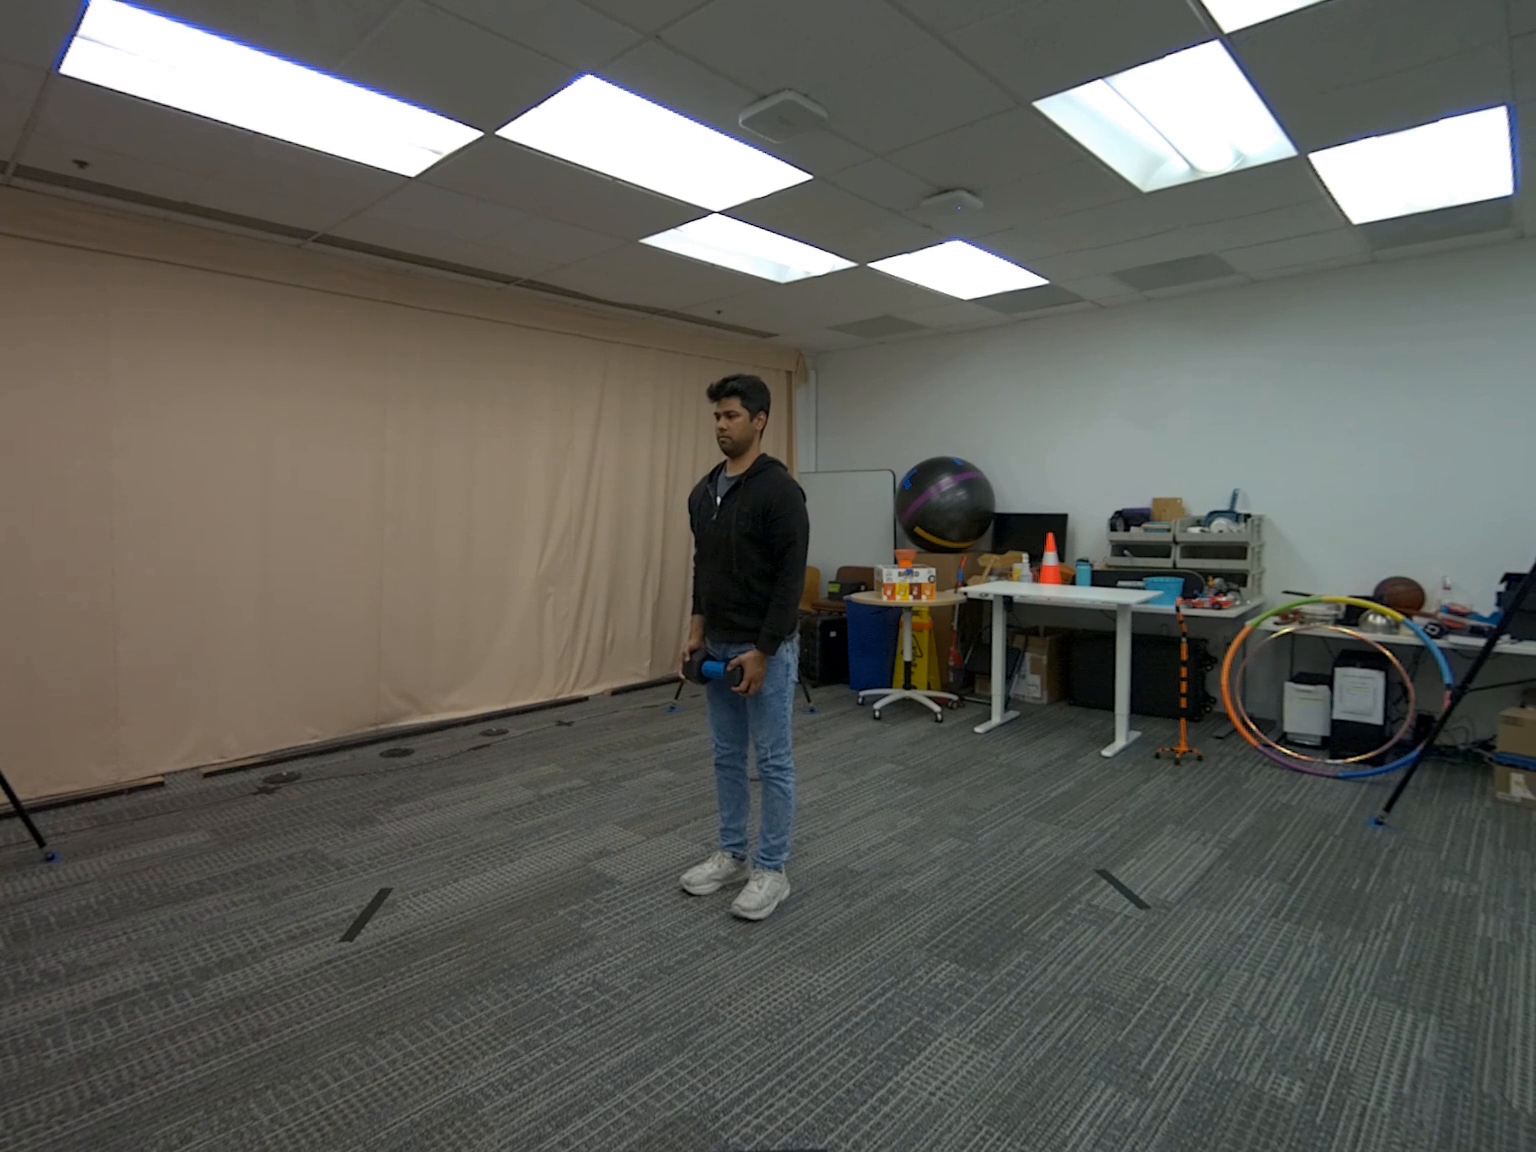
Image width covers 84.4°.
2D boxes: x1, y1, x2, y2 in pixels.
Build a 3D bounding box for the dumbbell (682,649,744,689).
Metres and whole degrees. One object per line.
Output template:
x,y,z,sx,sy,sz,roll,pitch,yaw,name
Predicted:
-0.159,0.334,2.938,0.303,0.109,0.119,1,-32,49,dumbbell
